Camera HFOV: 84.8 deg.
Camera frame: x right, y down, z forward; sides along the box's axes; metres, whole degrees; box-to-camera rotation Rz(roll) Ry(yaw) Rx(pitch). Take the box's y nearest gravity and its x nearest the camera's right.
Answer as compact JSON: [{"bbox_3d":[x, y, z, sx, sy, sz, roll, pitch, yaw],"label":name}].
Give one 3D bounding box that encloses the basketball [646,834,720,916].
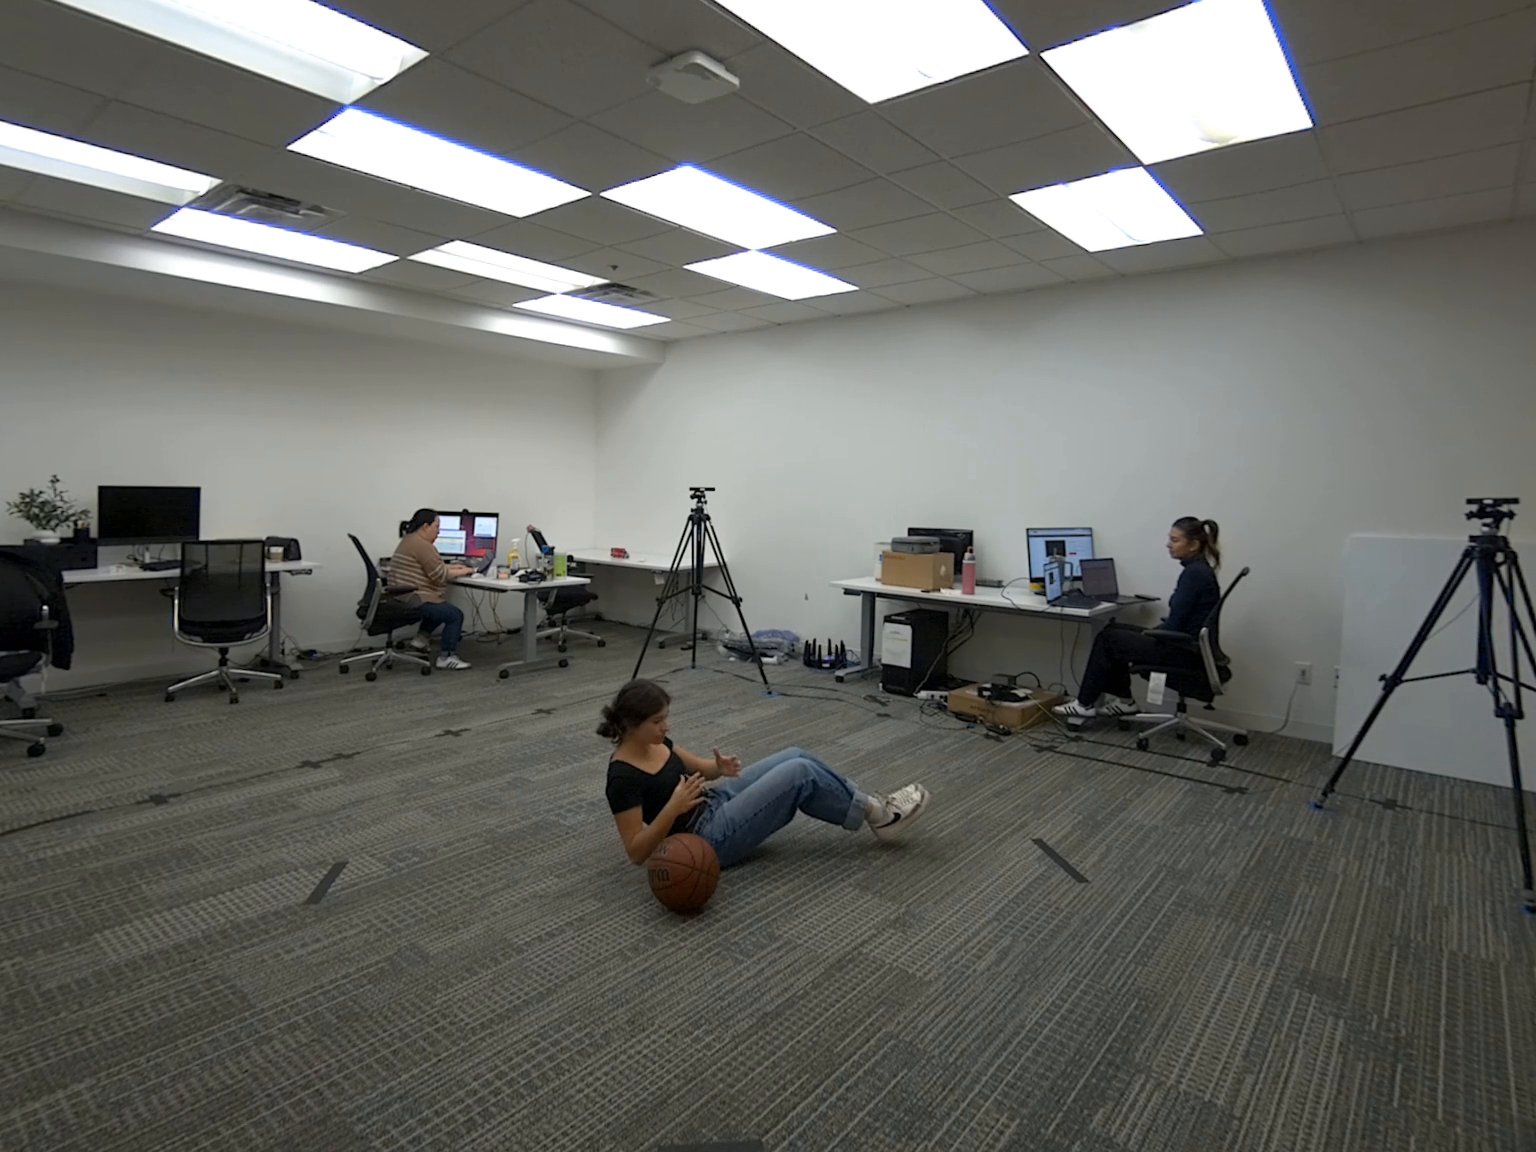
[{"bbox_3d":[-0.287,0.968,2.813,0.235,0.235,0.237,1,4,-2],"label":"basketball"}]
